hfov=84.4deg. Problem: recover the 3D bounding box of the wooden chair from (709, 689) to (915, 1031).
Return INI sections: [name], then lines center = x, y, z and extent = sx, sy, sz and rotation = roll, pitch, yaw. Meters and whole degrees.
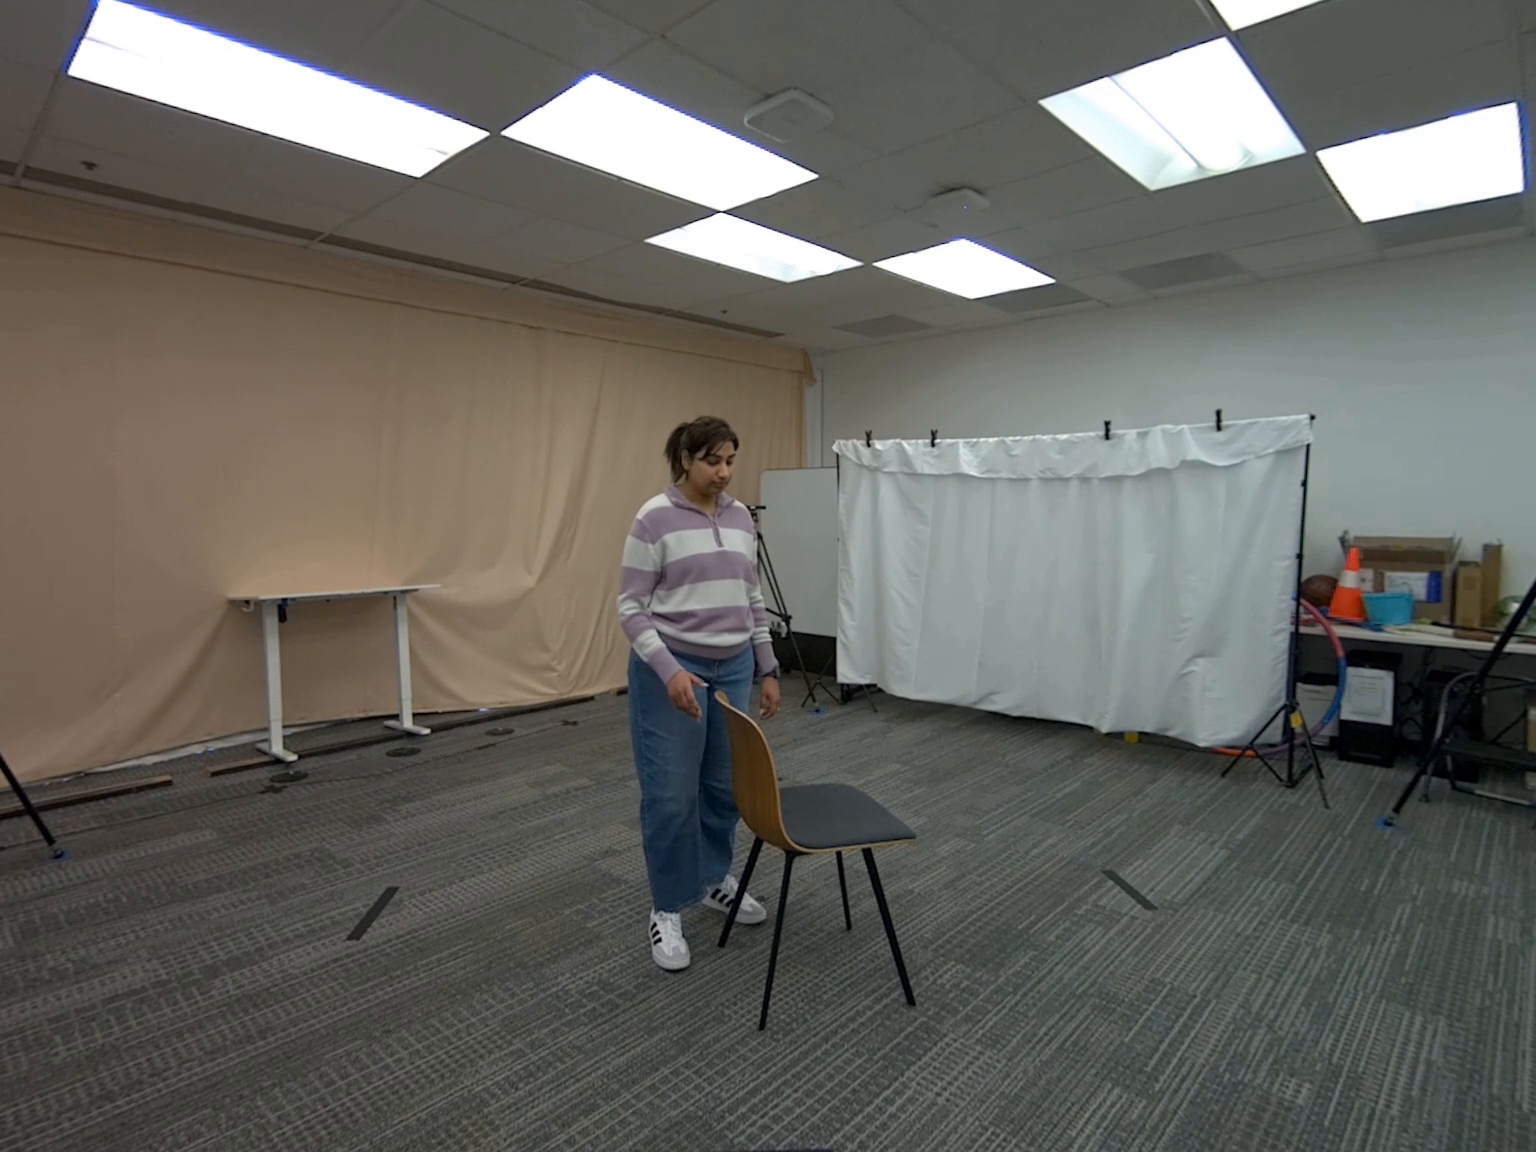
[wooden chair]
center = 0.142, 0.762, 2.476
extent = 0.515, 0.875, 0.487
rotation = -5, 4, -16
